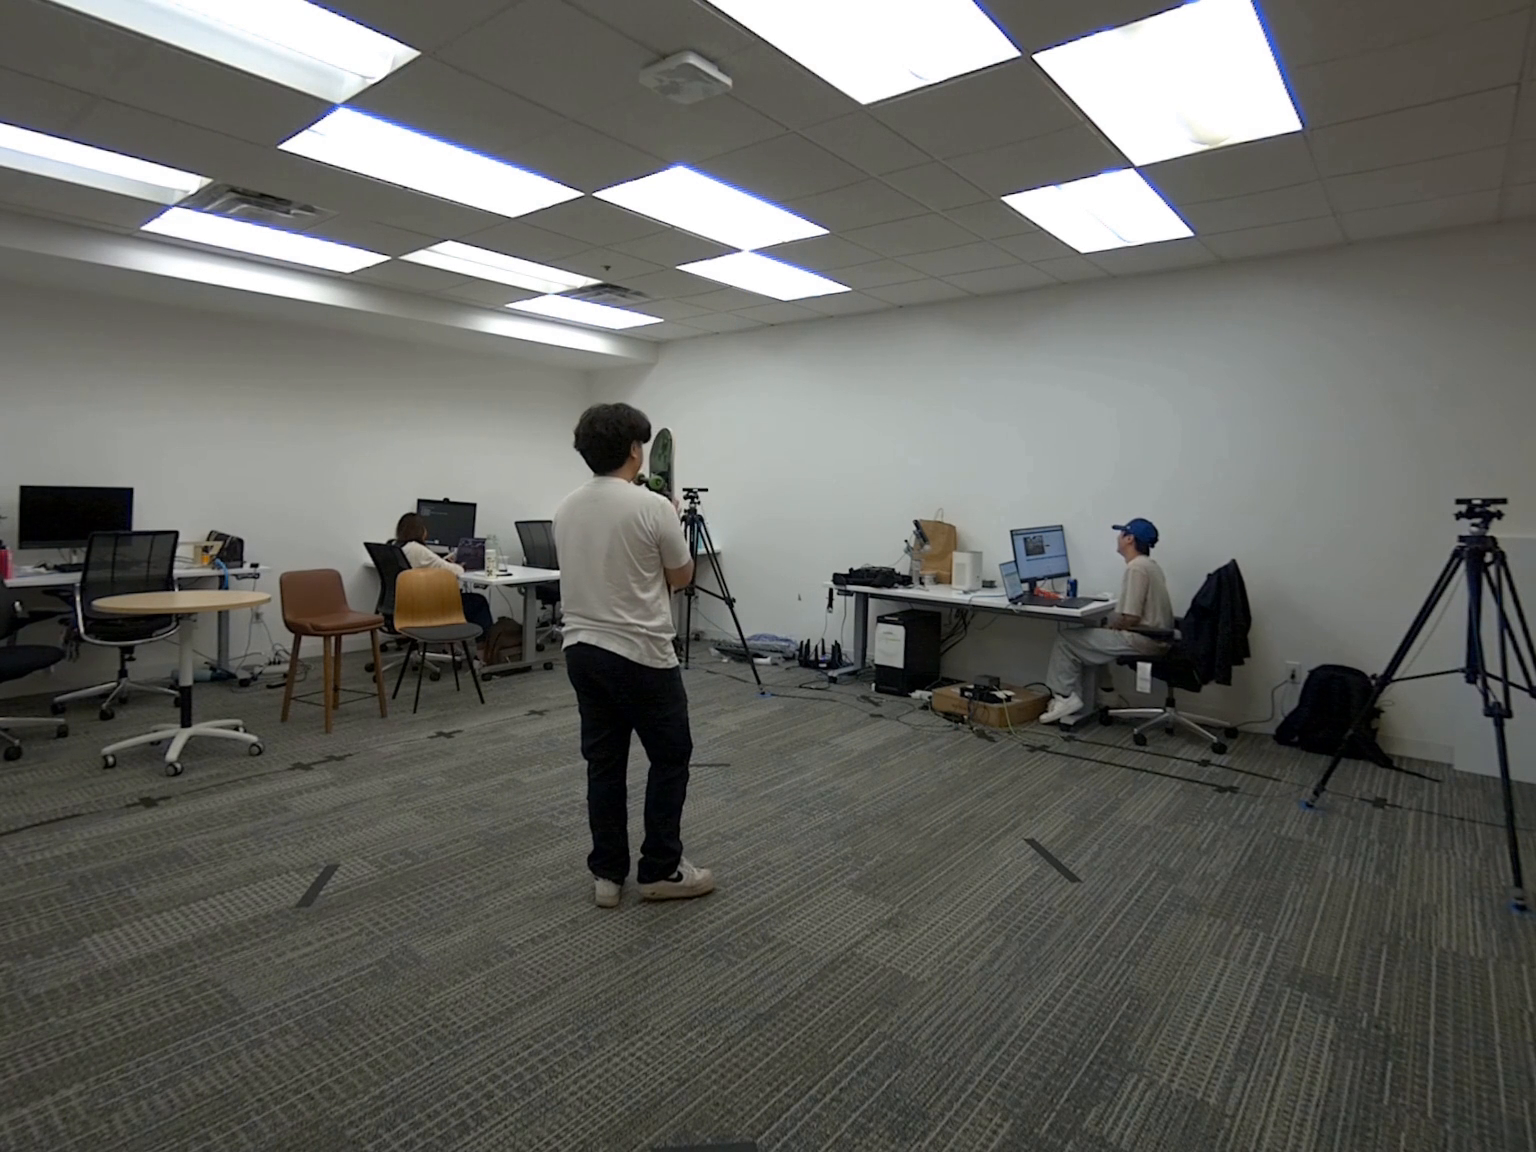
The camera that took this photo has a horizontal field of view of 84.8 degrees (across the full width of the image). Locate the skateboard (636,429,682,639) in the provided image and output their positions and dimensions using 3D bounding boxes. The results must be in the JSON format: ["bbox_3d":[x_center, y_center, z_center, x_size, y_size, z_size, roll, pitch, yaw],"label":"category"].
[{"bbox_3d":[-0.428,-0.163,3.203,0.107,0.780,0.200,-3,8,-29],"label":"skateboard"}]
